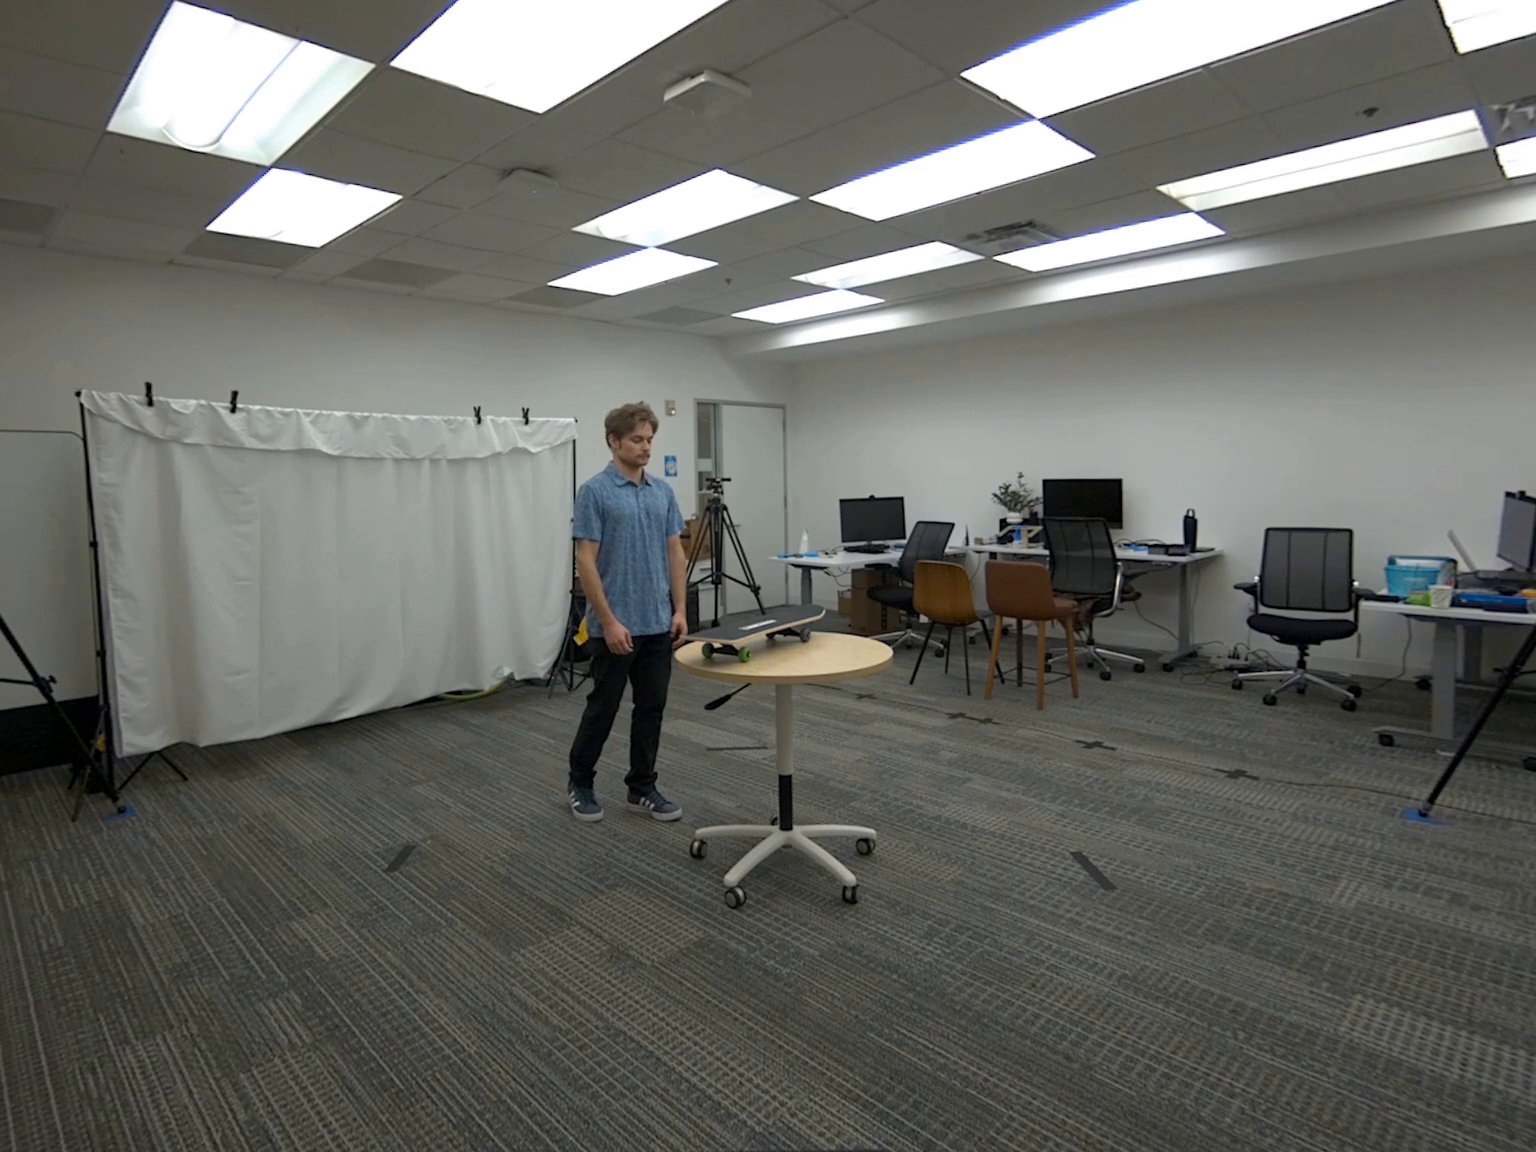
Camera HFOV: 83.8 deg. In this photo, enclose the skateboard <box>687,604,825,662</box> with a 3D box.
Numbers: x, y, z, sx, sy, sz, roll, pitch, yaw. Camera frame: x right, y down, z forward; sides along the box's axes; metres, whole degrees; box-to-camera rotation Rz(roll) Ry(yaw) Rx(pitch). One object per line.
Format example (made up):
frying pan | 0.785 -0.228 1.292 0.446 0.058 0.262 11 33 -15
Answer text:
skateboard | -0.030 0.218 3.058 0.199 0.110 0.767 2 6 33
